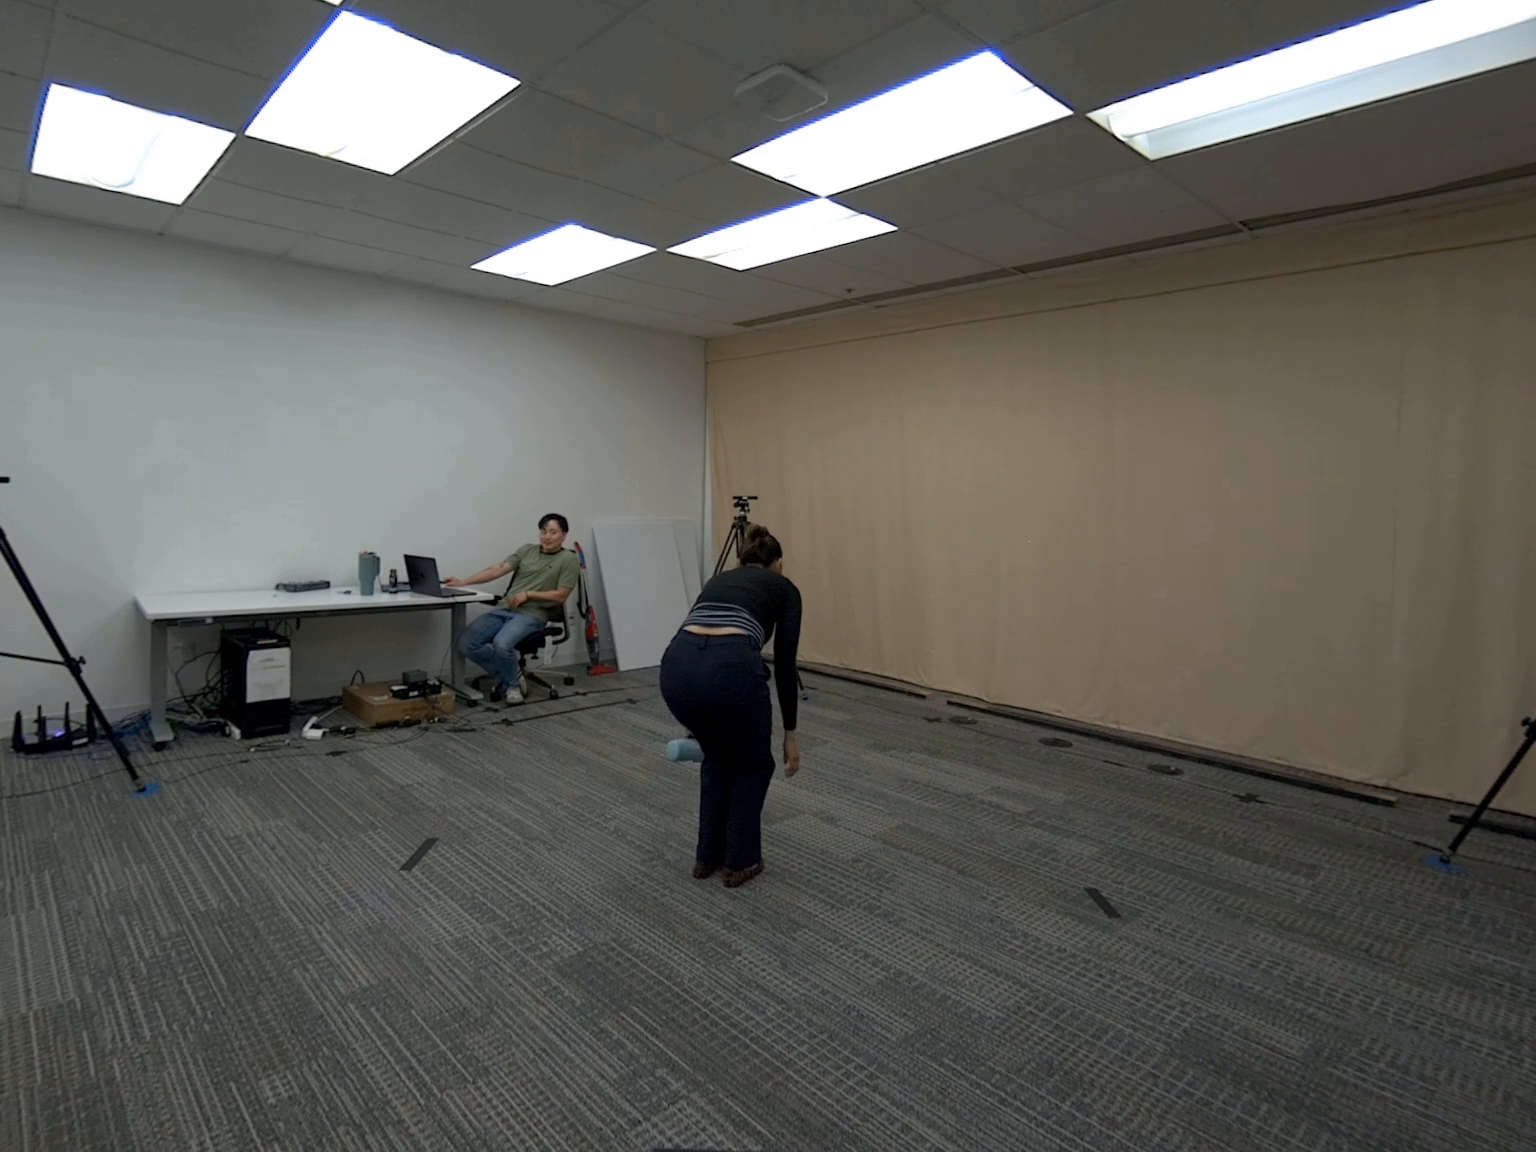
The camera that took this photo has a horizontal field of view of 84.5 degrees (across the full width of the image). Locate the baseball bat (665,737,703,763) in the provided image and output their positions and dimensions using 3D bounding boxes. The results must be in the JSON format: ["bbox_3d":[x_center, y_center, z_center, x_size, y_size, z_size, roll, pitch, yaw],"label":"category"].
[{"bbox_3d":[-0.213,0.732,3.568,0.091,0.089,0.528,6,-1,45],"label":"baseball bat"}]
